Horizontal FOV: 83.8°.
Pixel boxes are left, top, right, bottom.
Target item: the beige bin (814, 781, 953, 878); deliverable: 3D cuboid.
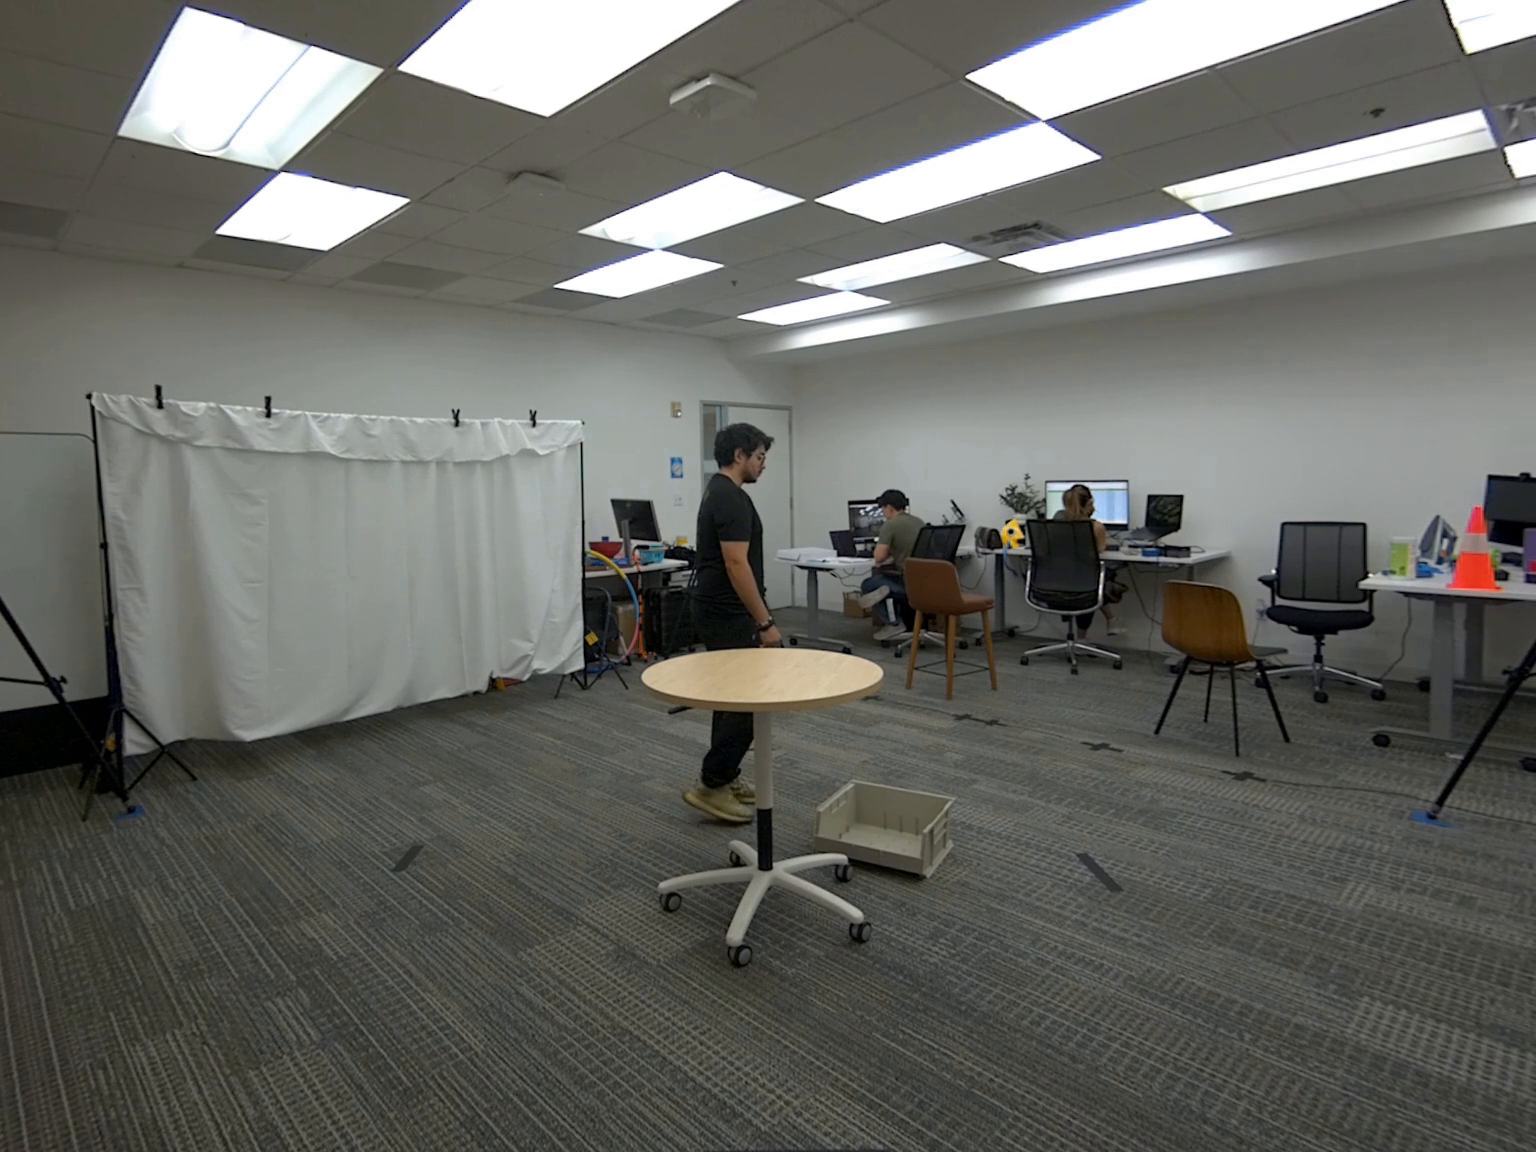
[{"bbox_3d":[0.442,0.942,3.183,0.433,0.188,0.369,2,5,30],"label":"beige bin"}]
